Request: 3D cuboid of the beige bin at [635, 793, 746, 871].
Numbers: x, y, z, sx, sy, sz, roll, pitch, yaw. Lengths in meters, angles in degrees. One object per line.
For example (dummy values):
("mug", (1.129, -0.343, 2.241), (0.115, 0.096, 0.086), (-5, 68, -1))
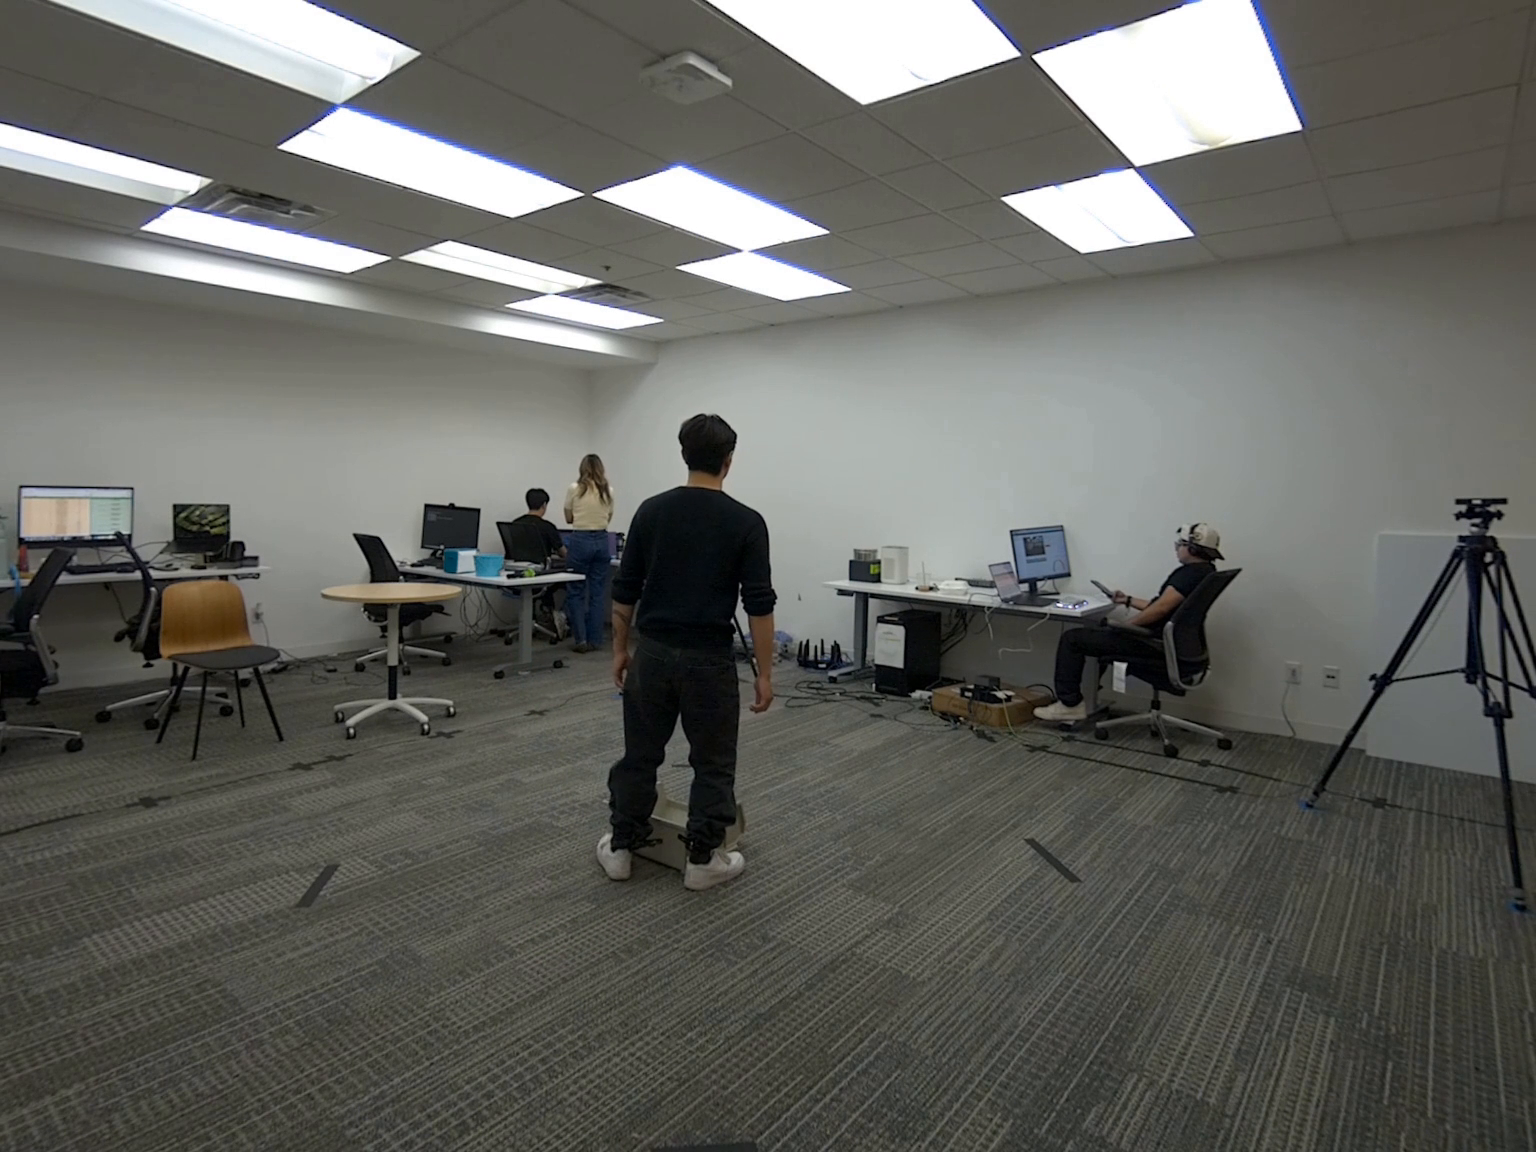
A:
("beige bin", (-0.370, 0.958, 3.314), (0.436, 0.188, 0.367), (6, 8, 35))
